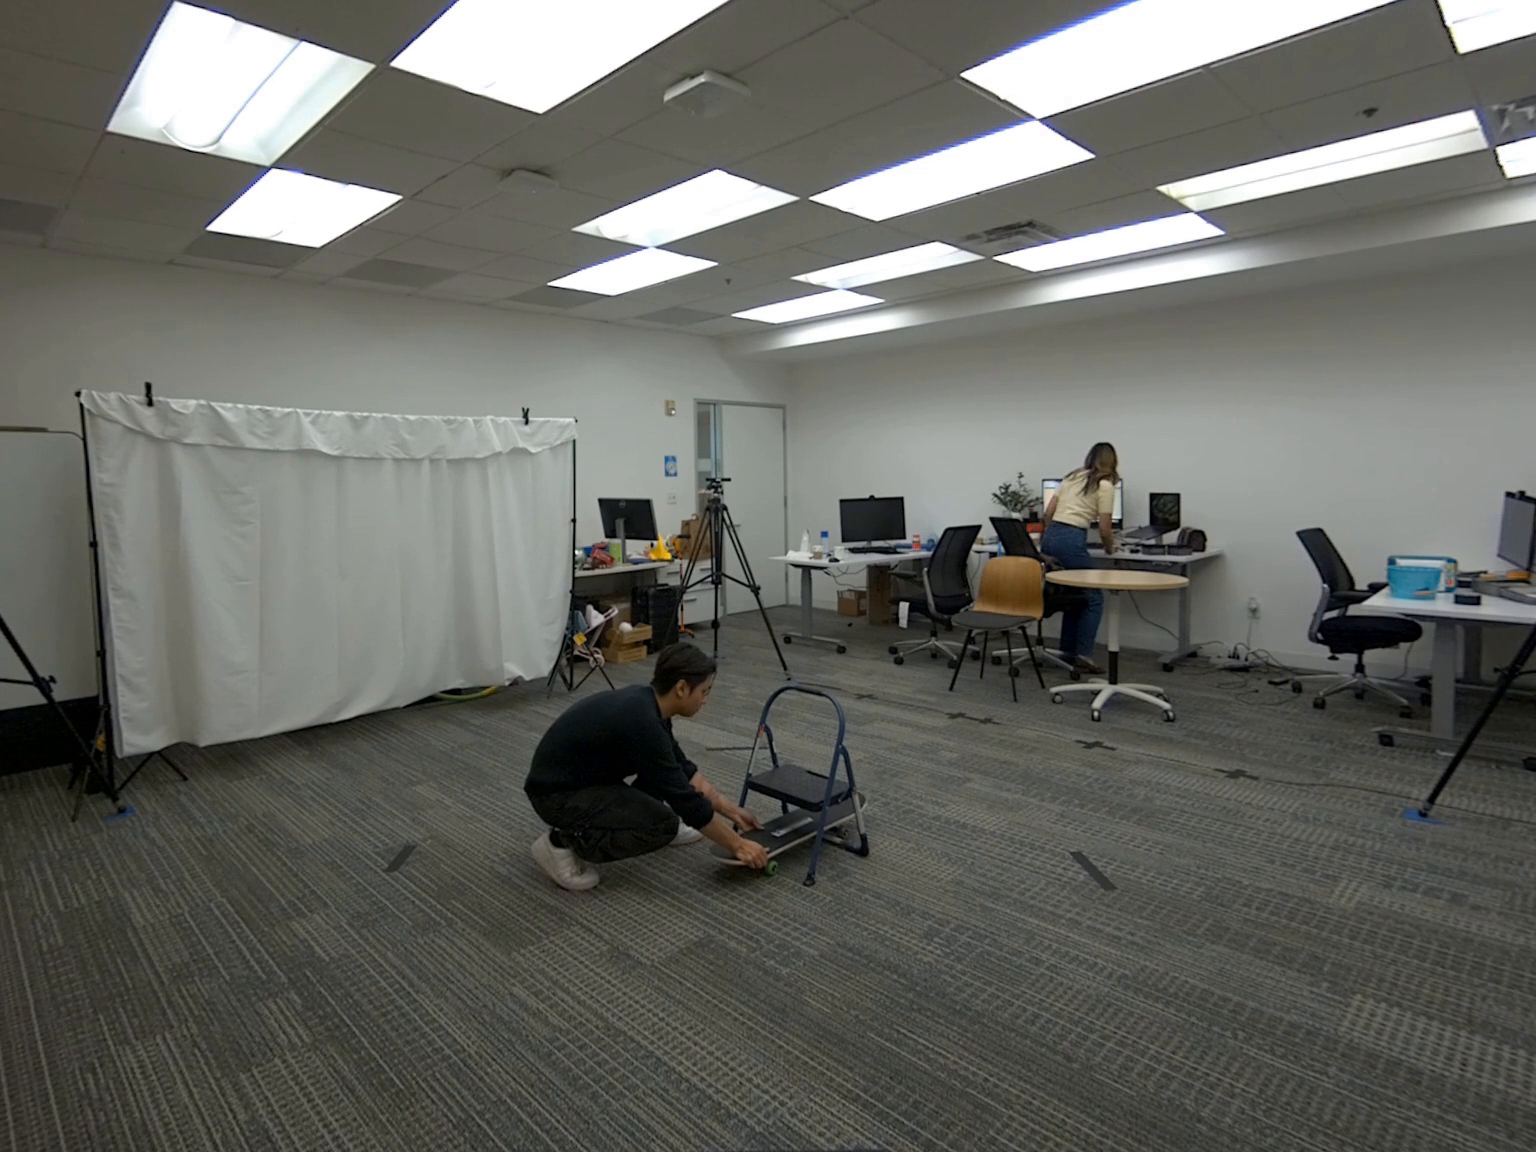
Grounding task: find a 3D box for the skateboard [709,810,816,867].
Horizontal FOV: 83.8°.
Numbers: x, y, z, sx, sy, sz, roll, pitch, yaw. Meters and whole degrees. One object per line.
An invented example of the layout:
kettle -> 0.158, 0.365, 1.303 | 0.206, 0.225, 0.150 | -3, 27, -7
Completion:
skateboard -> 0.095, 0.965, 3.198 | 0.199, 0.110, 0.766 | 5, 10, 45
